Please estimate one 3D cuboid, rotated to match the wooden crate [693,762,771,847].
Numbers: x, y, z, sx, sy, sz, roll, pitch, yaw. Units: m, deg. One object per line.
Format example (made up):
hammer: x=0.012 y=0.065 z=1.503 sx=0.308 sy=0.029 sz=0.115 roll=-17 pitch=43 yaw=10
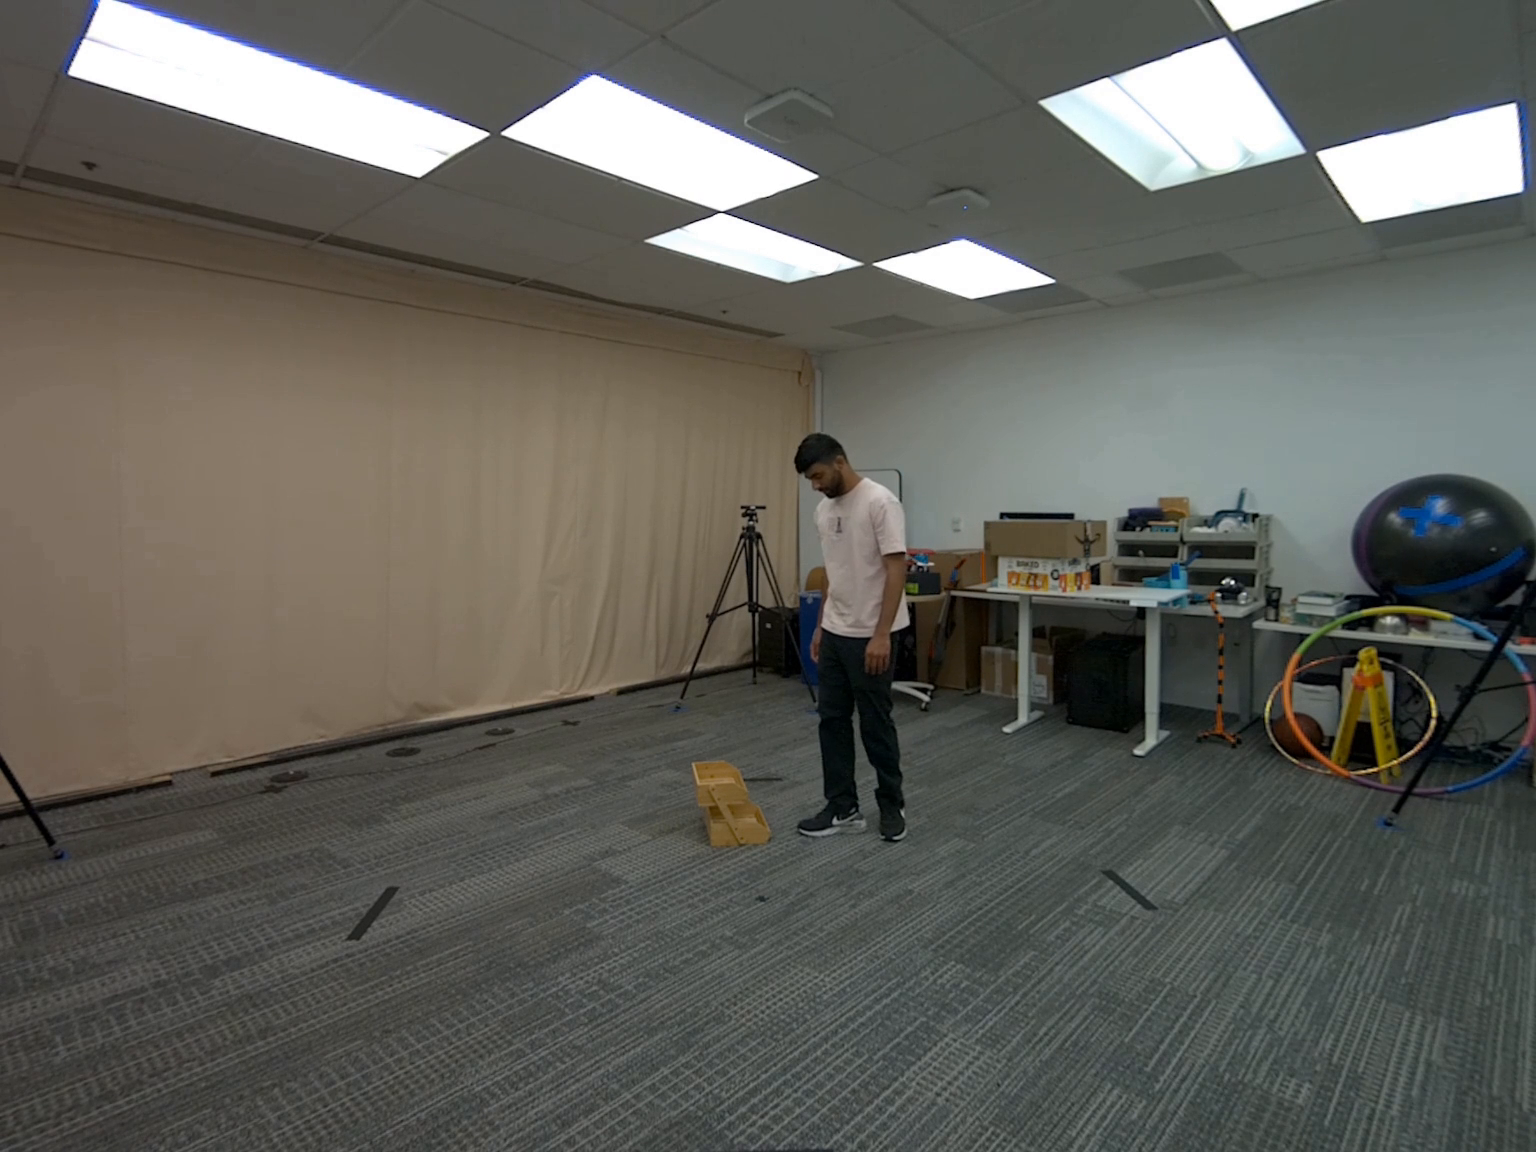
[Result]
wooden crate: x=-0.159 y=0.959 z=3.602 sx=0.299 sy=0.273 sz=0.328 roll=-2 pitch=4 yaw=-9
